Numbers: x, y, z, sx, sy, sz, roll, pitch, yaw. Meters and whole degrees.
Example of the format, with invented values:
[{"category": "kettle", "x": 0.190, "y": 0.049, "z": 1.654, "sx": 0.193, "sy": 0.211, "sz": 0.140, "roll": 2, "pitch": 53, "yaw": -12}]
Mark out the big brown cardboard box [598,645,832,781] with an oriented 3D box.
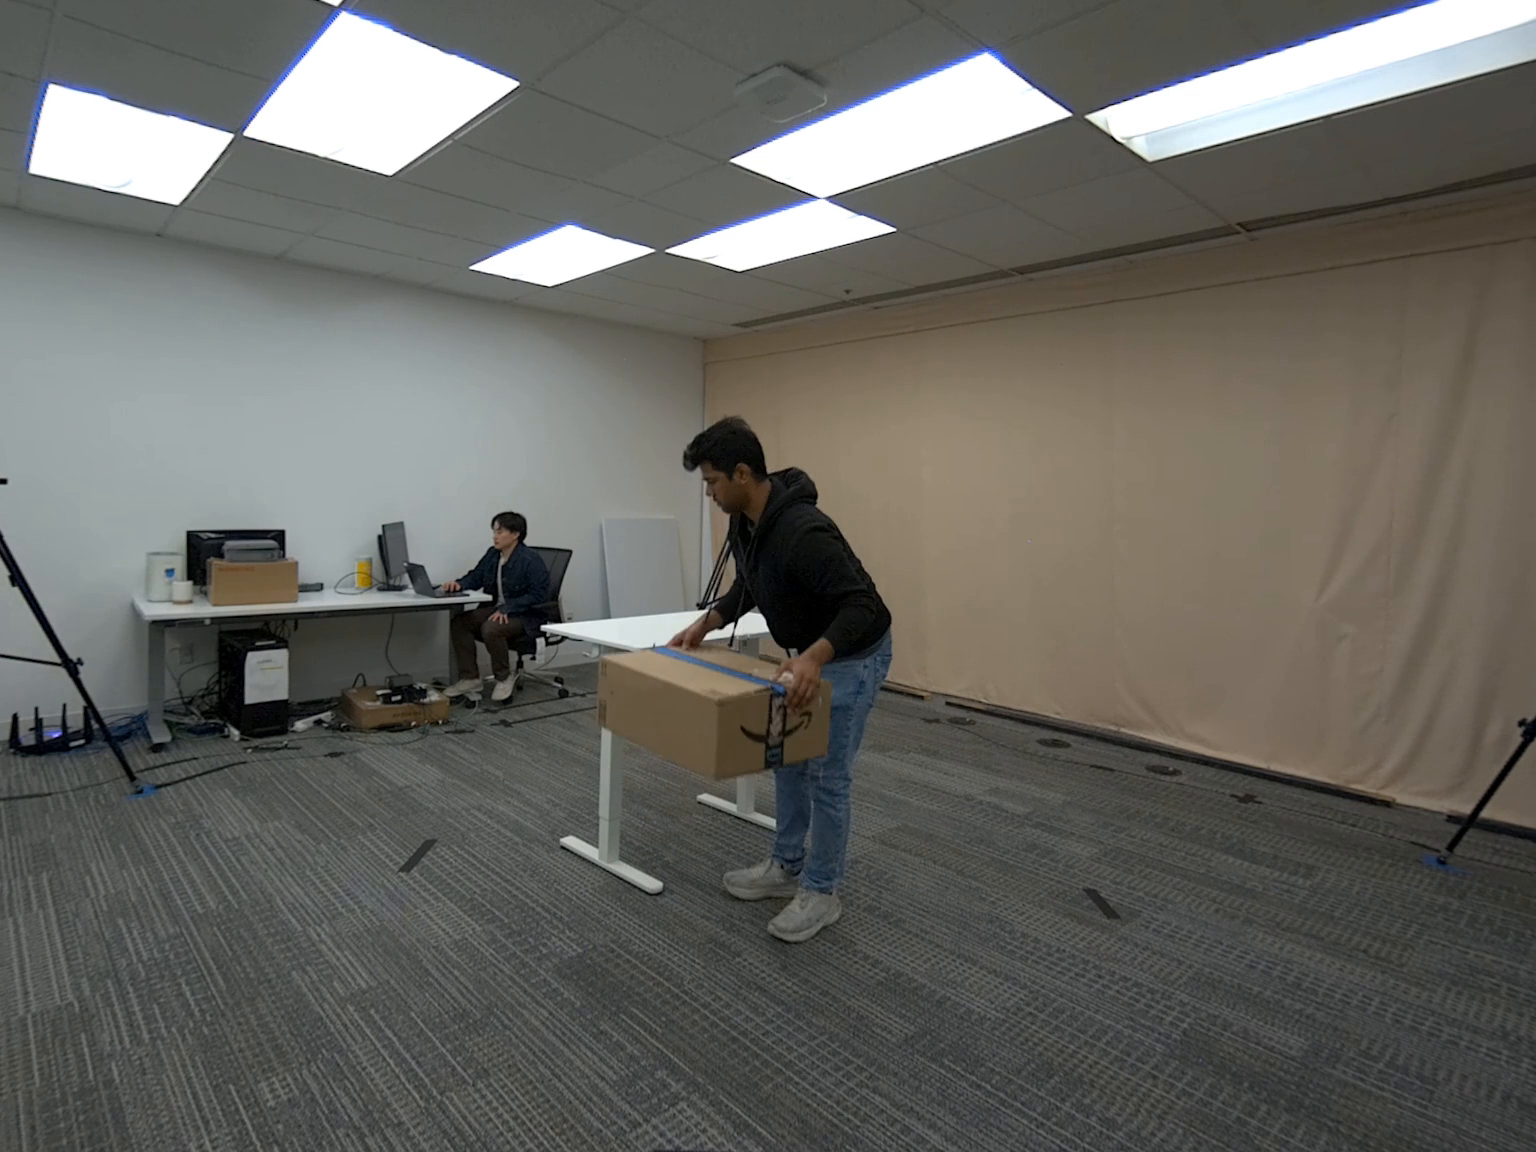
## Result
[{"category": "big brown cardboard box", "x": -0.181, "y": 0.382, "z": 2.457, "sx": 0.408, "sy": 0.232, "sz": 0.605, "roll": -3, "pitch": 8, "yaw": -42}]
